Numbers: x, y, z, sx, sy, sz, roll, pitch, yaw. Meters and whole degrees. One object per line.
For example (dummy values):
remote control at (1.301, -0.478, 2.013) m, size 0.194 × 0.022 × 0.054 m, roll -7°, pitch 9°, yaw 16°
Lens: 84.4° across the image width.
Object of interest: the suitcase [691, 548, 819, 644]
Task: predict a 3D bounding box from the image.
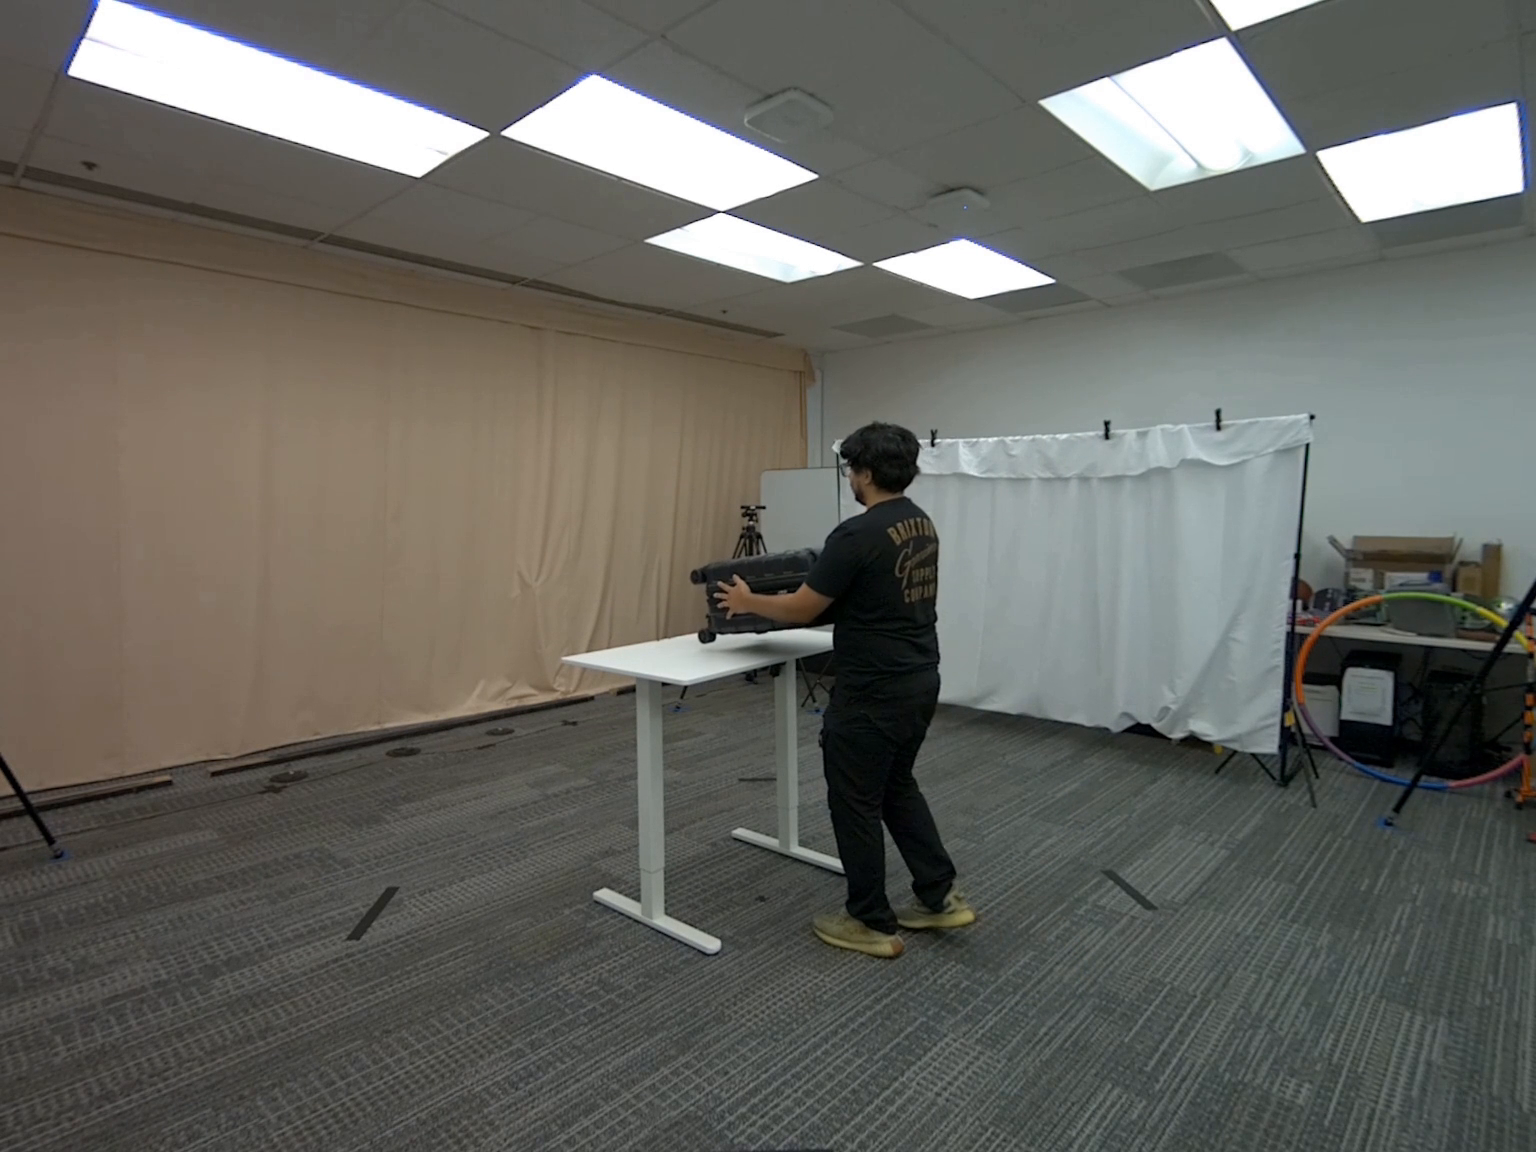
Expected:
suitcase at (0.048, 0.054, 2.914) m, size 0.565 × 0.249 × 0.364 m, roll -10°, pitch -4°, yaw 42°
